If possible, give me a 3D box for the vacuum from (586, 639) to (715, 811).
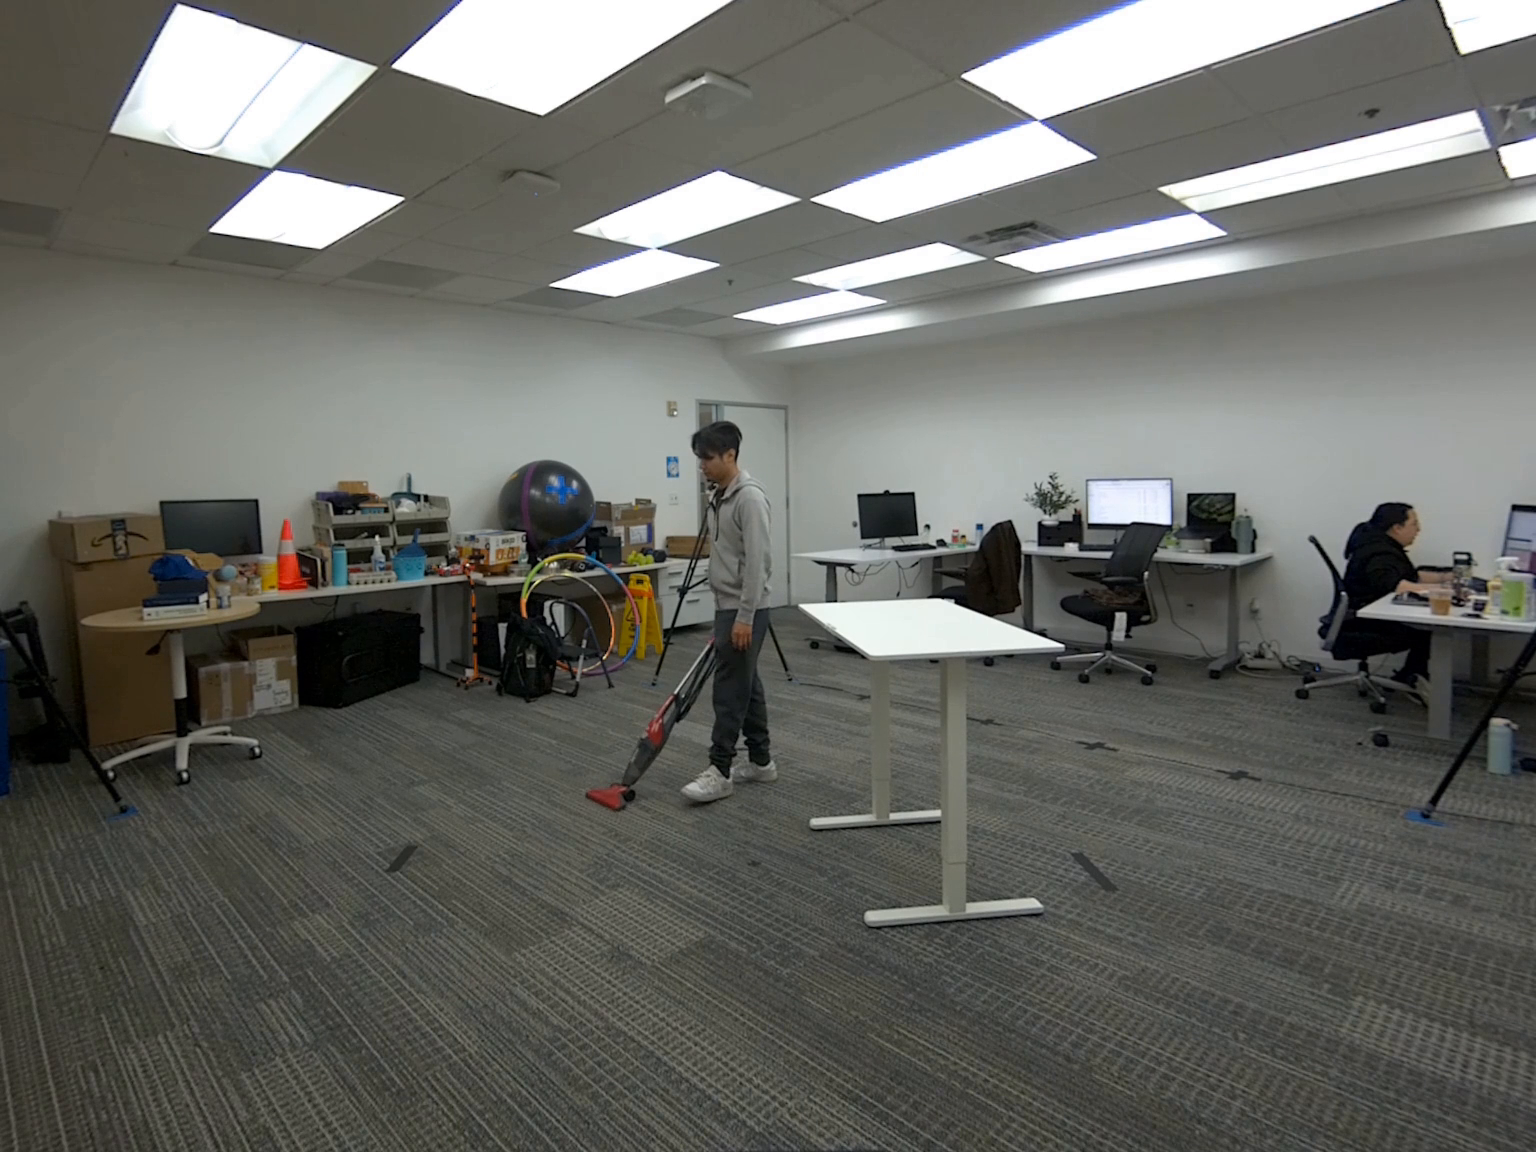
[{"bbox_3d":[-0.424,0.592,3.973,0.260,0.139,1.053,2,48,48],"label":"vacuum"}]
